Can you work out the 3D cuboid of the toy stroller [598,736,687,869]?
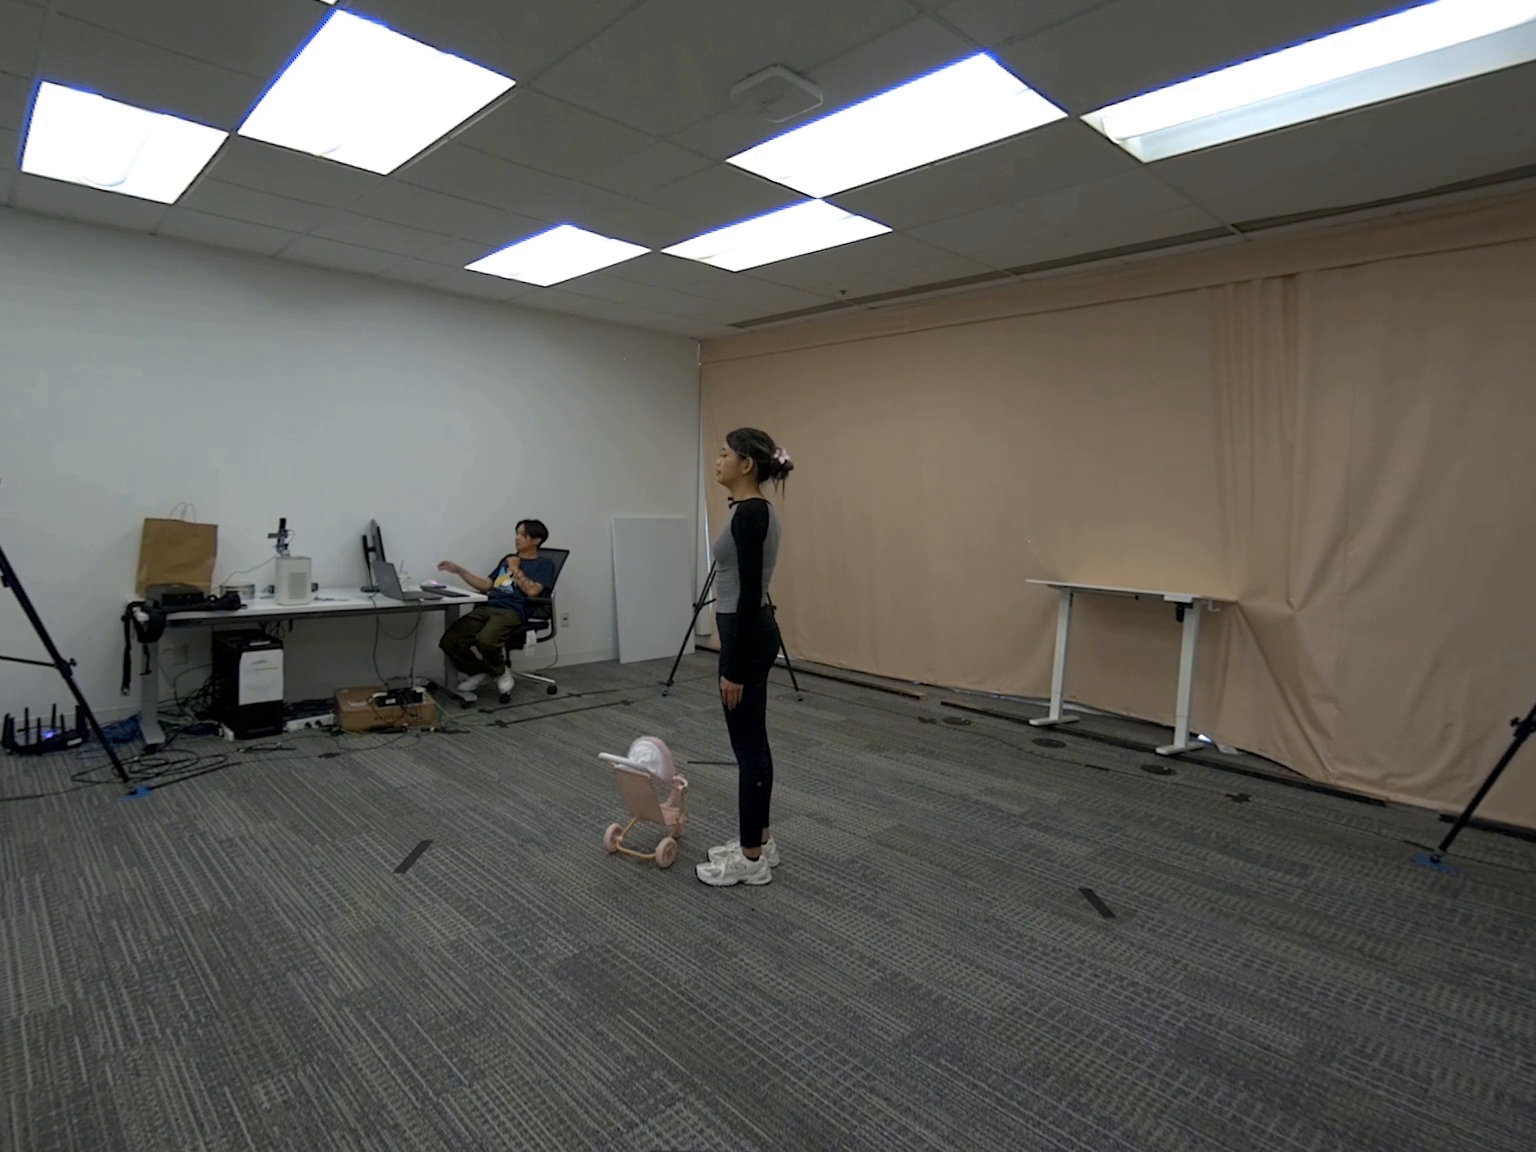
[{"bbox_3d":[-0.461,0.859,3.274,0.288,0.528,0.338,4,19,31],"label":"toy stroller"}]
